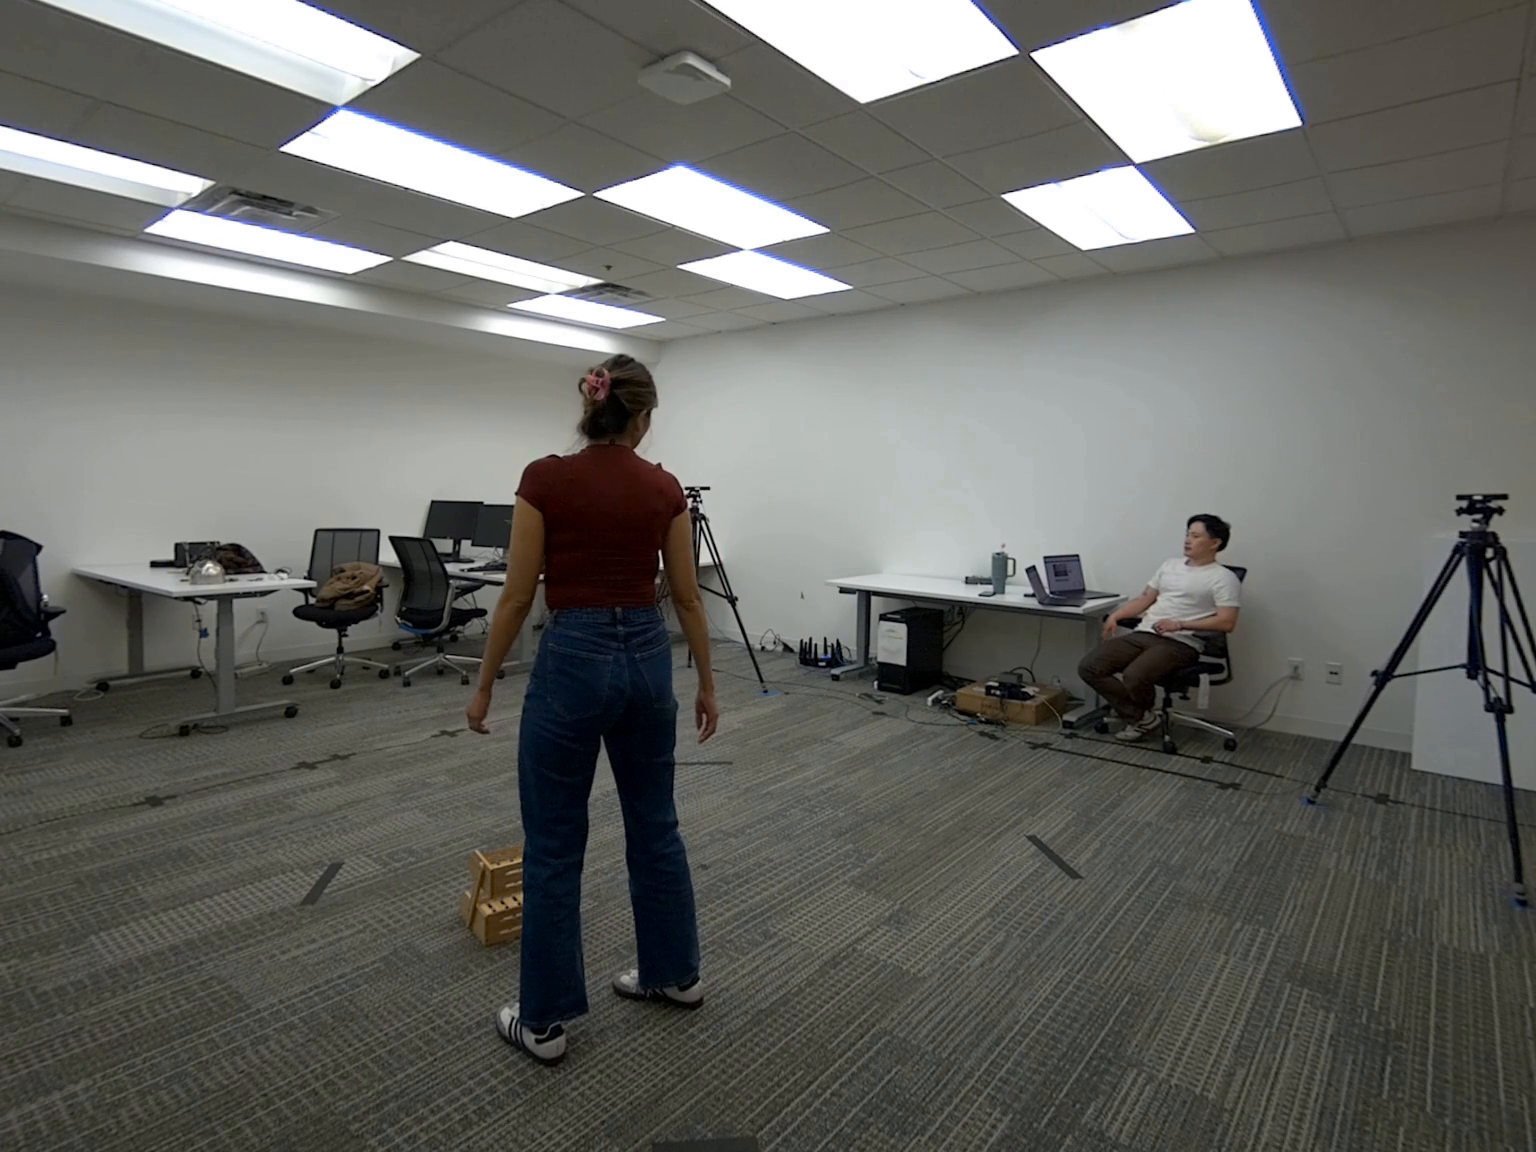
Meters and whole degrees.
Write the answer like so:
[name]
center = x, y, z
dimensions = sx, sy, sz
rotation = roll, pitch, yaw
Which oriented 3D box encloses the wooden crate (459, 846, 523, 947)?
[wooden crate]
center = -0.802, 0.962, 2.715
dimensions = 0.315, 0.272, 0.312
rotation = -3, 6, -36
